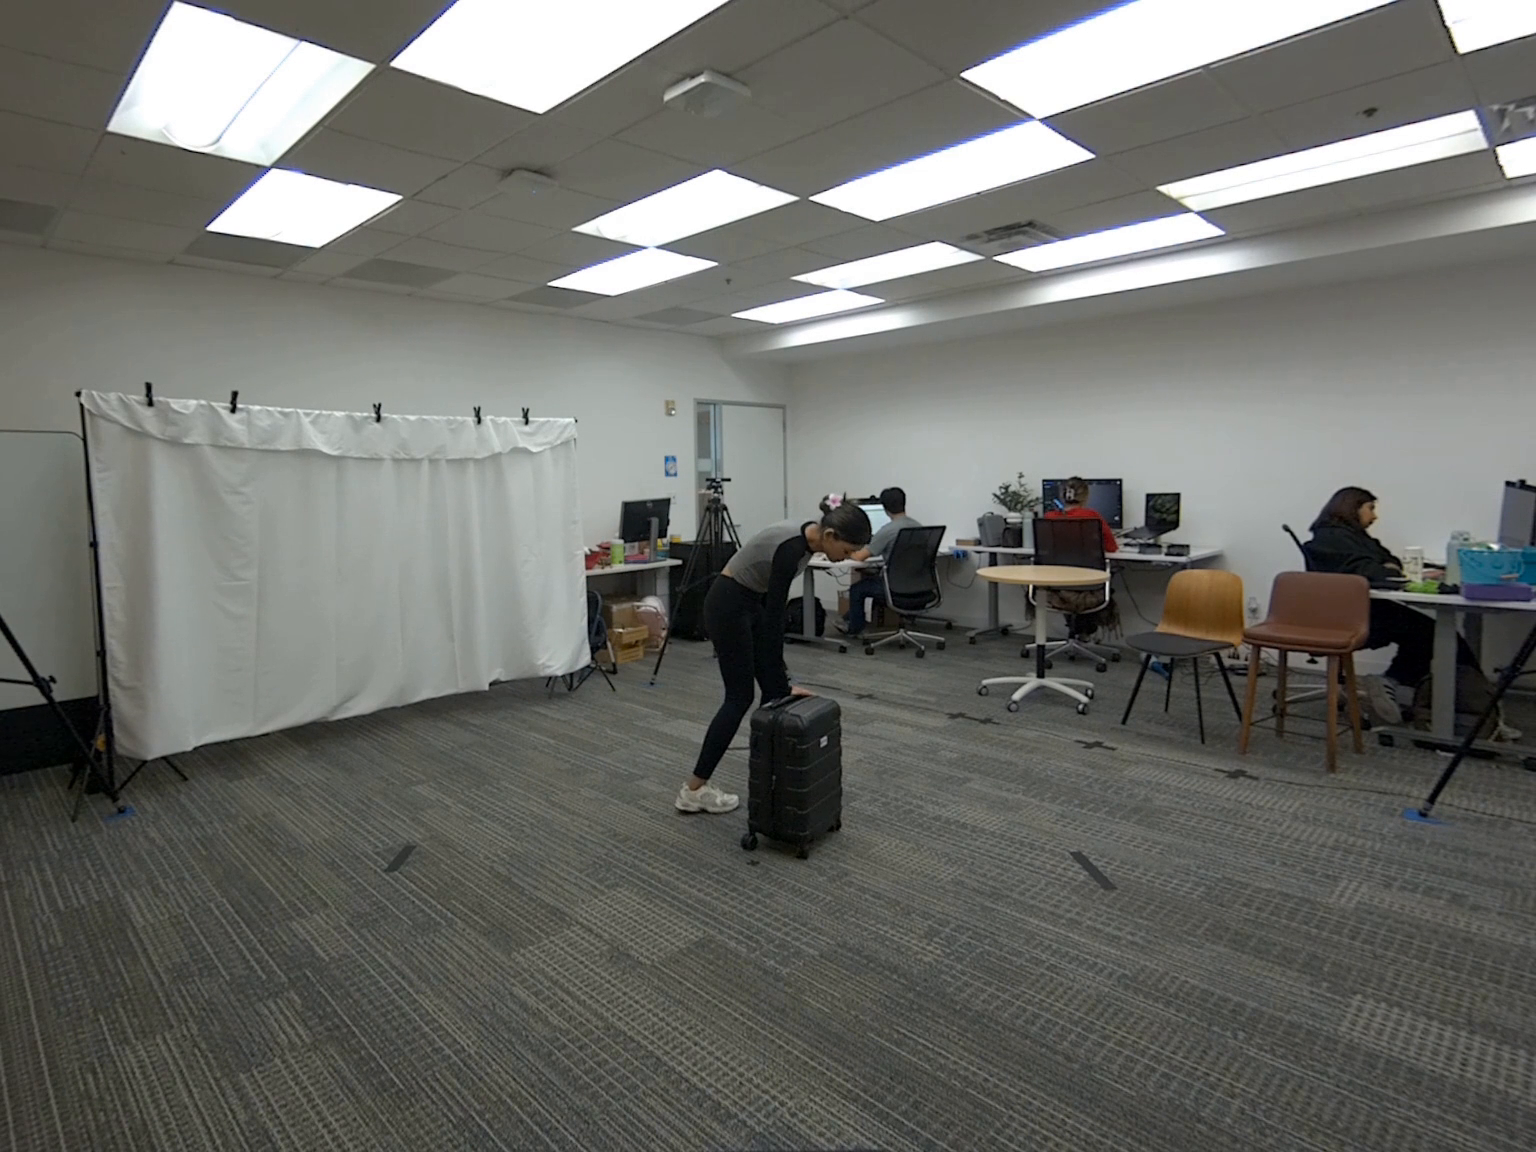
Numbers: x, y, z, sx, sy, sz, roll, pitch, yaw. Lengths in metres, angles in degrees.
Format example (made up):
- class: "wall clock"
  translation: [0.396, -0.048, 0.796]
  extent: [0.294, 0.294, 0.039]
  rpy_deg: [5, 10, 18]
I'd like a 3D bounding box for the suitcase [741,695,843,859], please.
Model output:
- class: "suitcase"
  translation: [0.113, 0.744, 3.284]
  extent: [0.255, 0.547, 0.367]
  rpy_deg: [4, 5, 31]
